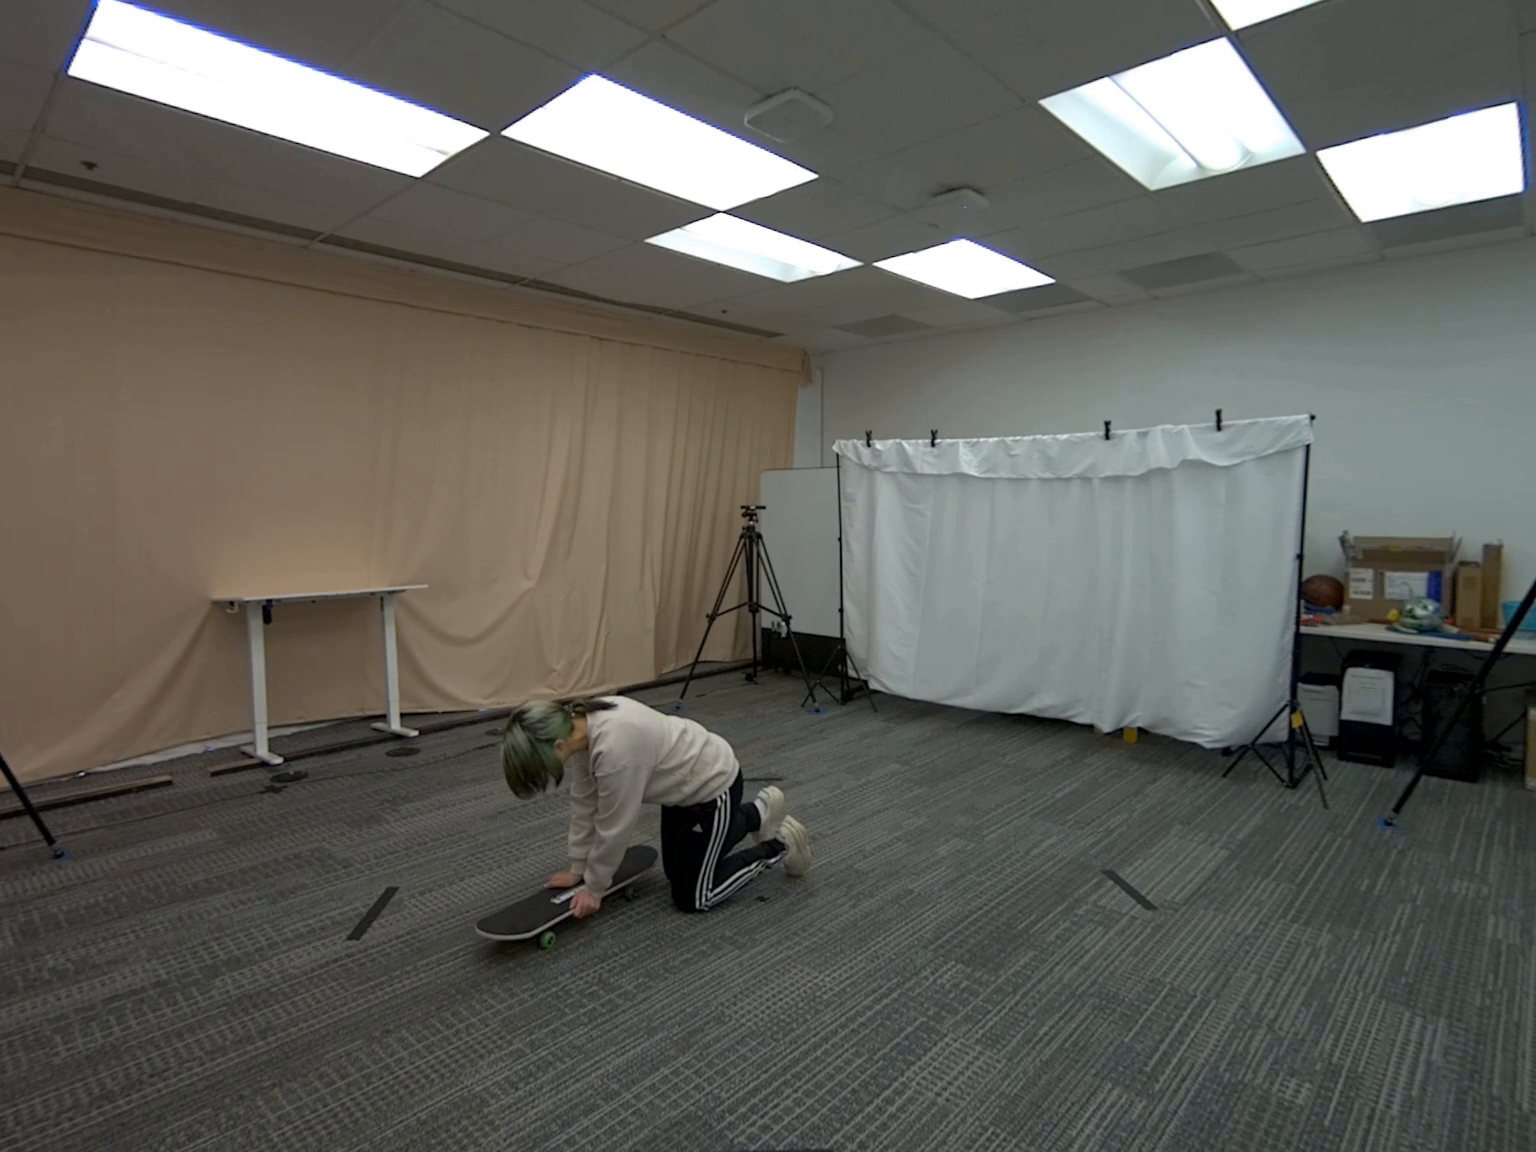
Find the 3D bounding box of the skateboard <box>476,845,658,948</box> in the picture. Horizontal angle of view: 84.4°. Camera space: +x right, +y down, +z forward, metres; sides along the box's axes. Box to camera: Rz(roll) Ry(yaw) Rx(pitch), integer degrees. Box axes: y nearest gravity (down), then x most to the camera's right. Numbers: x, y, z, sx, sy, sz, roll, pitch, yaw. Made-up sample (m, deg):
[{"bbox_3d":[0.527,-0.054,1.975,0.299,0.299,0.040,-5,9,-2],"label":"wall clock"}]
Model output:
[{"bbox_3d":[-0.657,1.108,2.867,0.199,0.110,0.763,3,6,33],"label":"skateboard"}]
